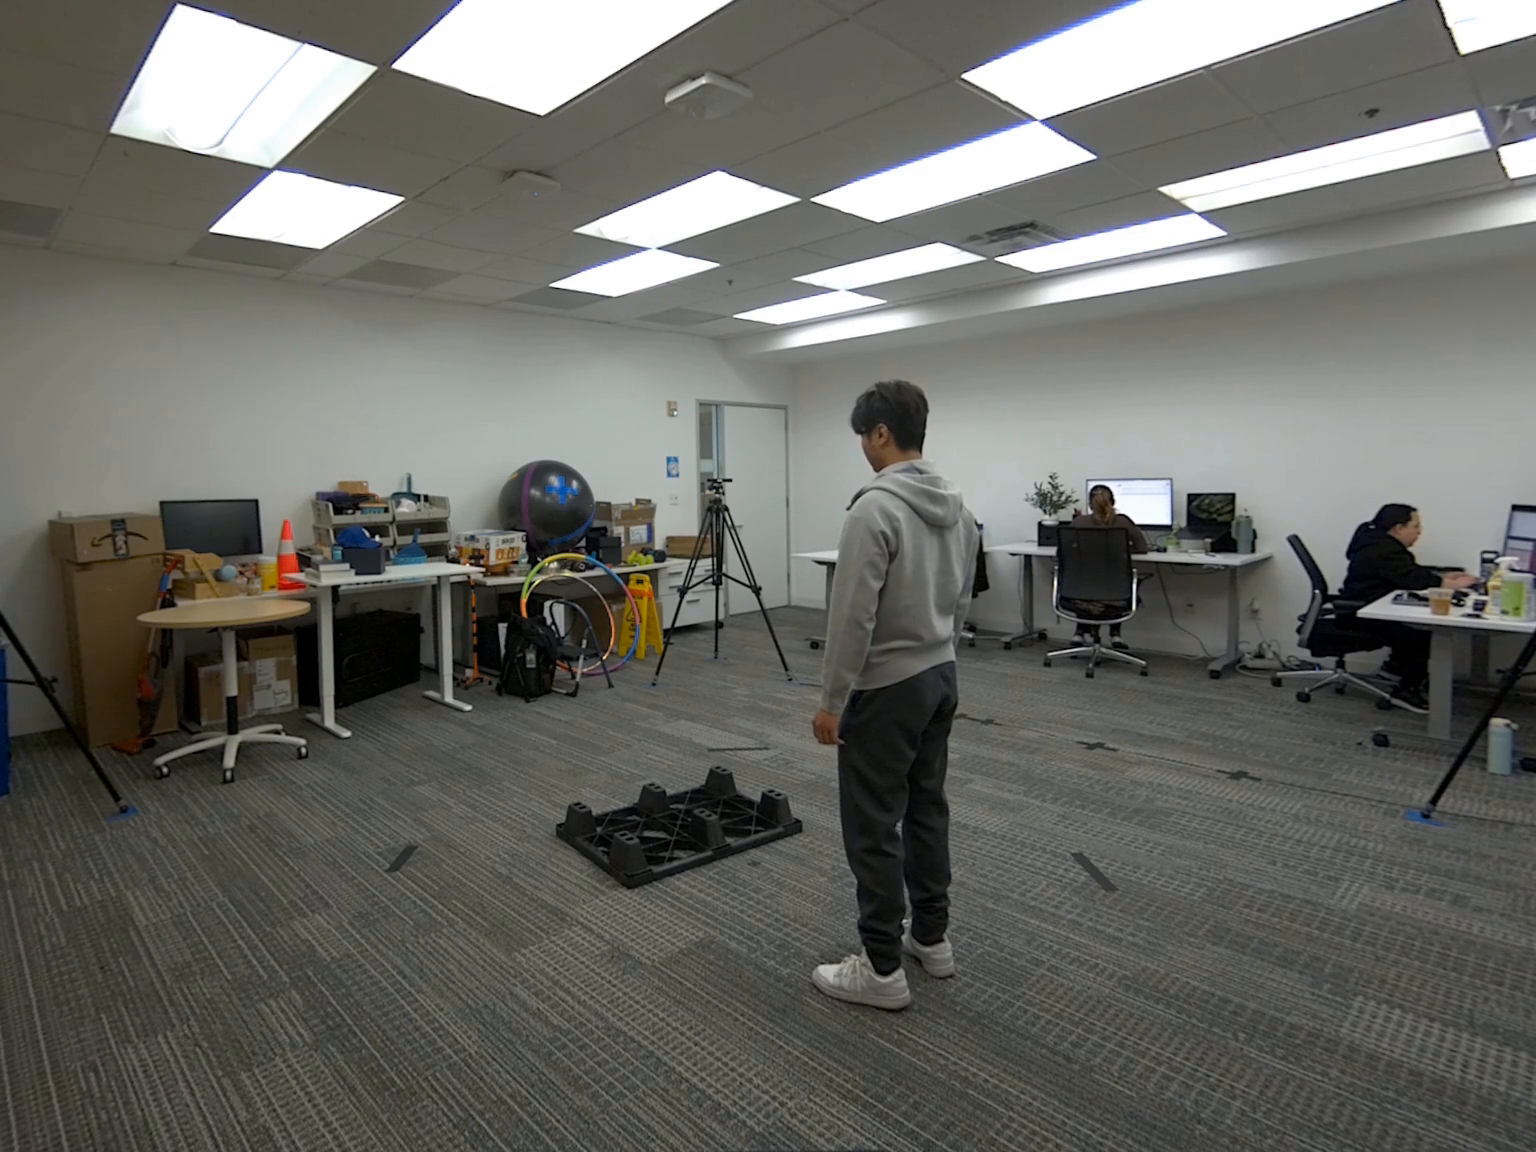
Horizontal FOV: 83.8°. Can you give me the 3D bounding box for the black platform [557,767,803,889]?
[{"bbox_3d":[-0.351,0.952,3.393,0.785,0.143,0.624,-5,8,-38],"label":"black platform"}]
